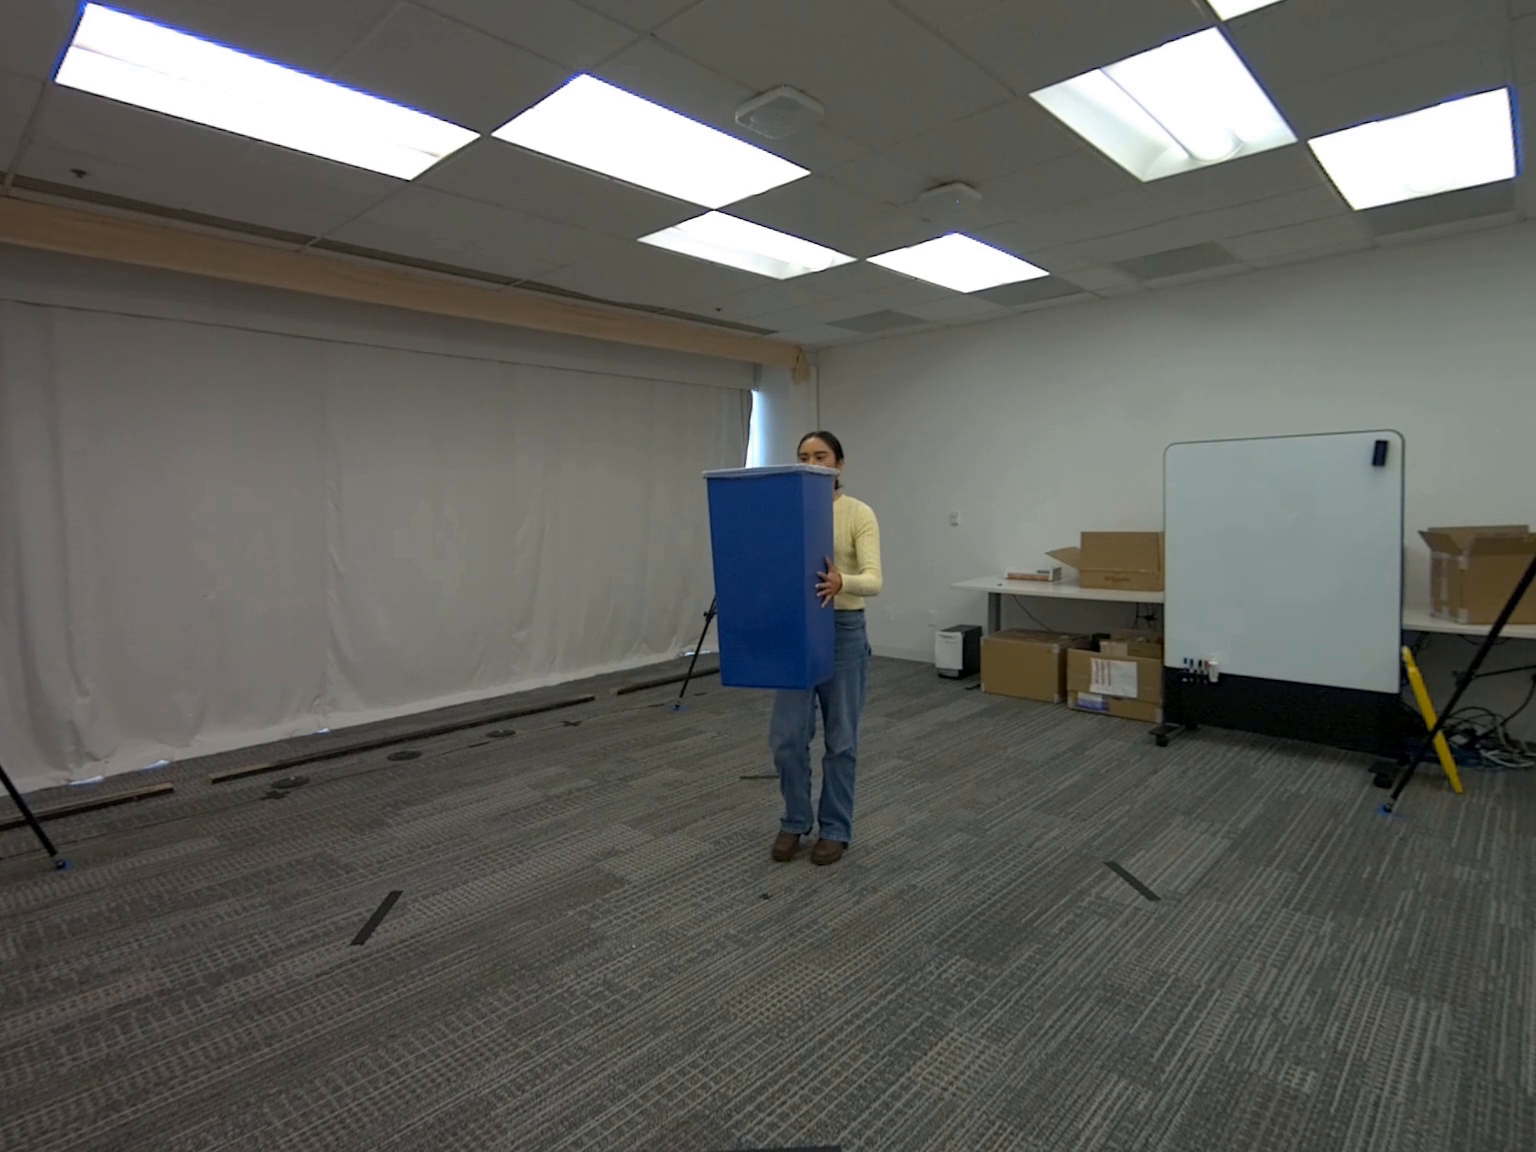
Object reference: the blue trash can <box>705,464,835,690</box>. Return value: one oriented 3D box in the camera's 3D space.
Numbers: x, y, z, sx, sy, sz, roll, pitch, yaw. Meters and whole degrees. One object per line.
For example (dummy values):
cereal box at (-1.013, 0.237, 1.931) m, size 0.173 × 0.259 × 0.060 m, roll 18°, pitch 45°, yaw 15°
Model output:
blue trash can at (0.026, -0.004, 2.837) m, size 0.387 × 0.714 × 0.365 m, roll -2°, pitch 0°, yaw 23°
